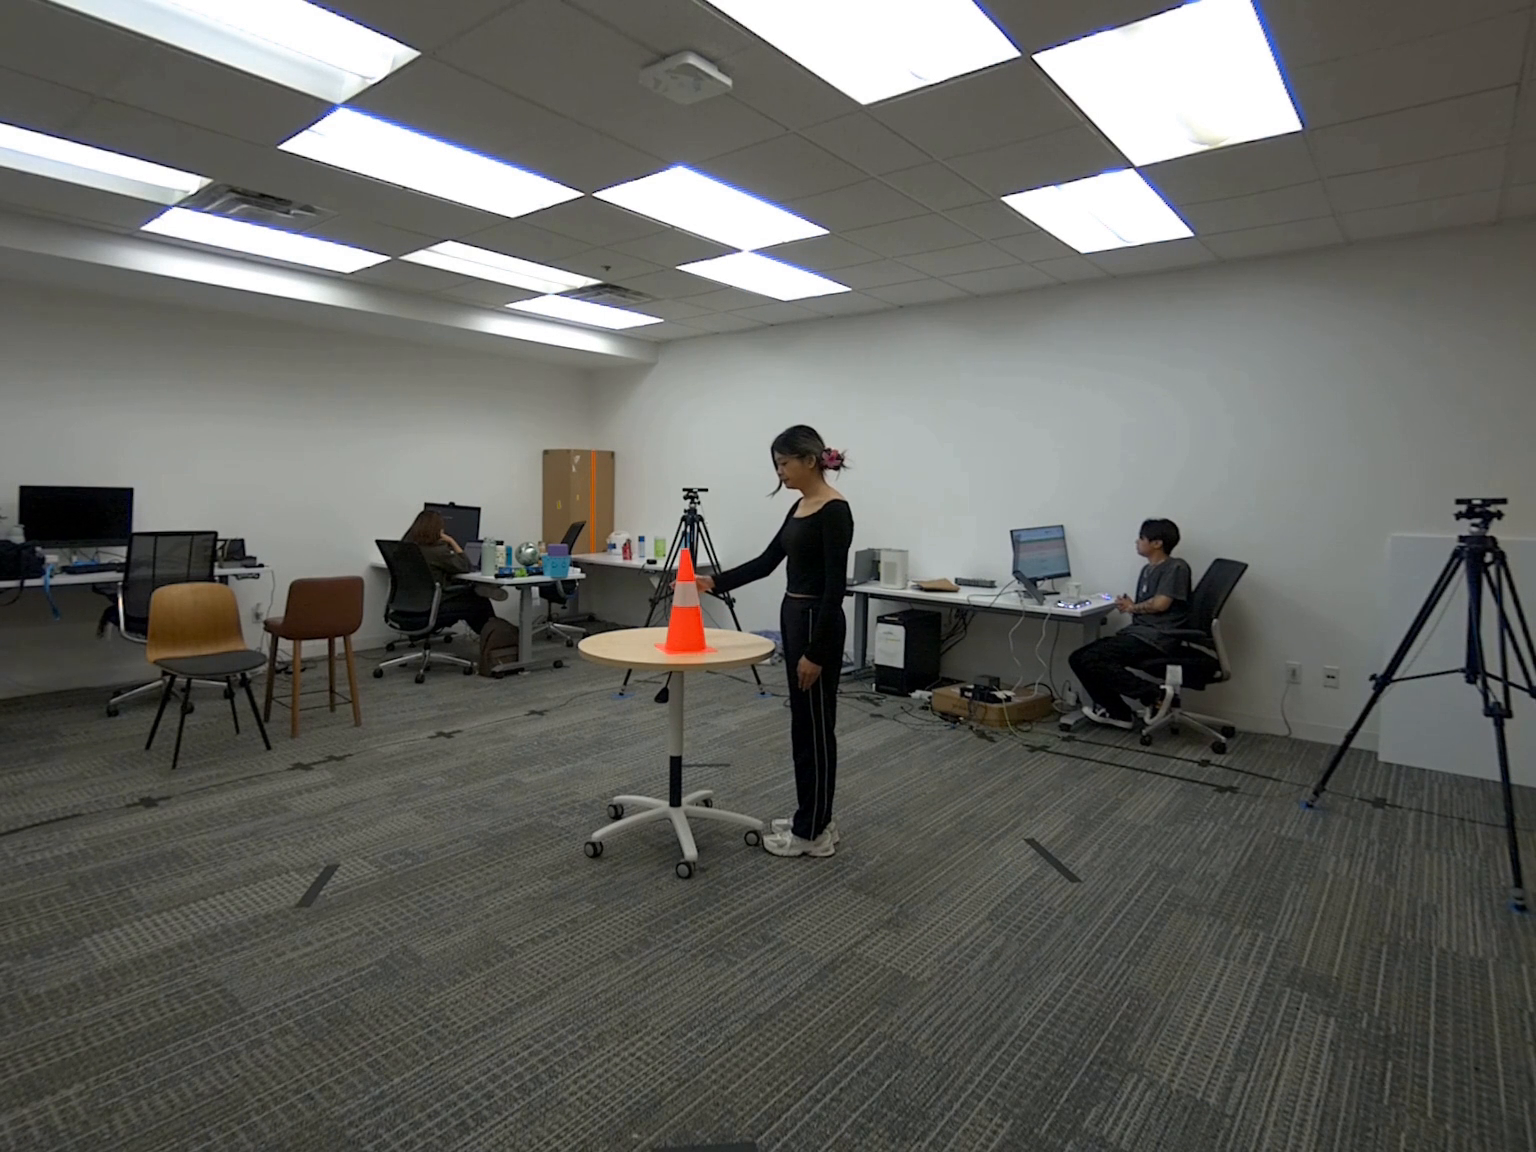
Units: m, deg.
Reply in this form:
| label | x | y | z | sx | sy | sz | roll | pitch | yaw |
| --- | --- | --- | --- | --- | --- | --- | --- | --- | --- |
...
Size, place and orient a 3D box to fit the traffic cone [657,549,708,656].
| label | x | y | z | sx | sy | sz | roll | pitch | yaw |
| --- | --- | --- | --- | --- | --- | --- | --- | --- | --- |
| traffic cone | -0.320 | 0.084 | 3.231 | 0.200 | 0.383 | 0.209 | 0 | 2 | -18 |
